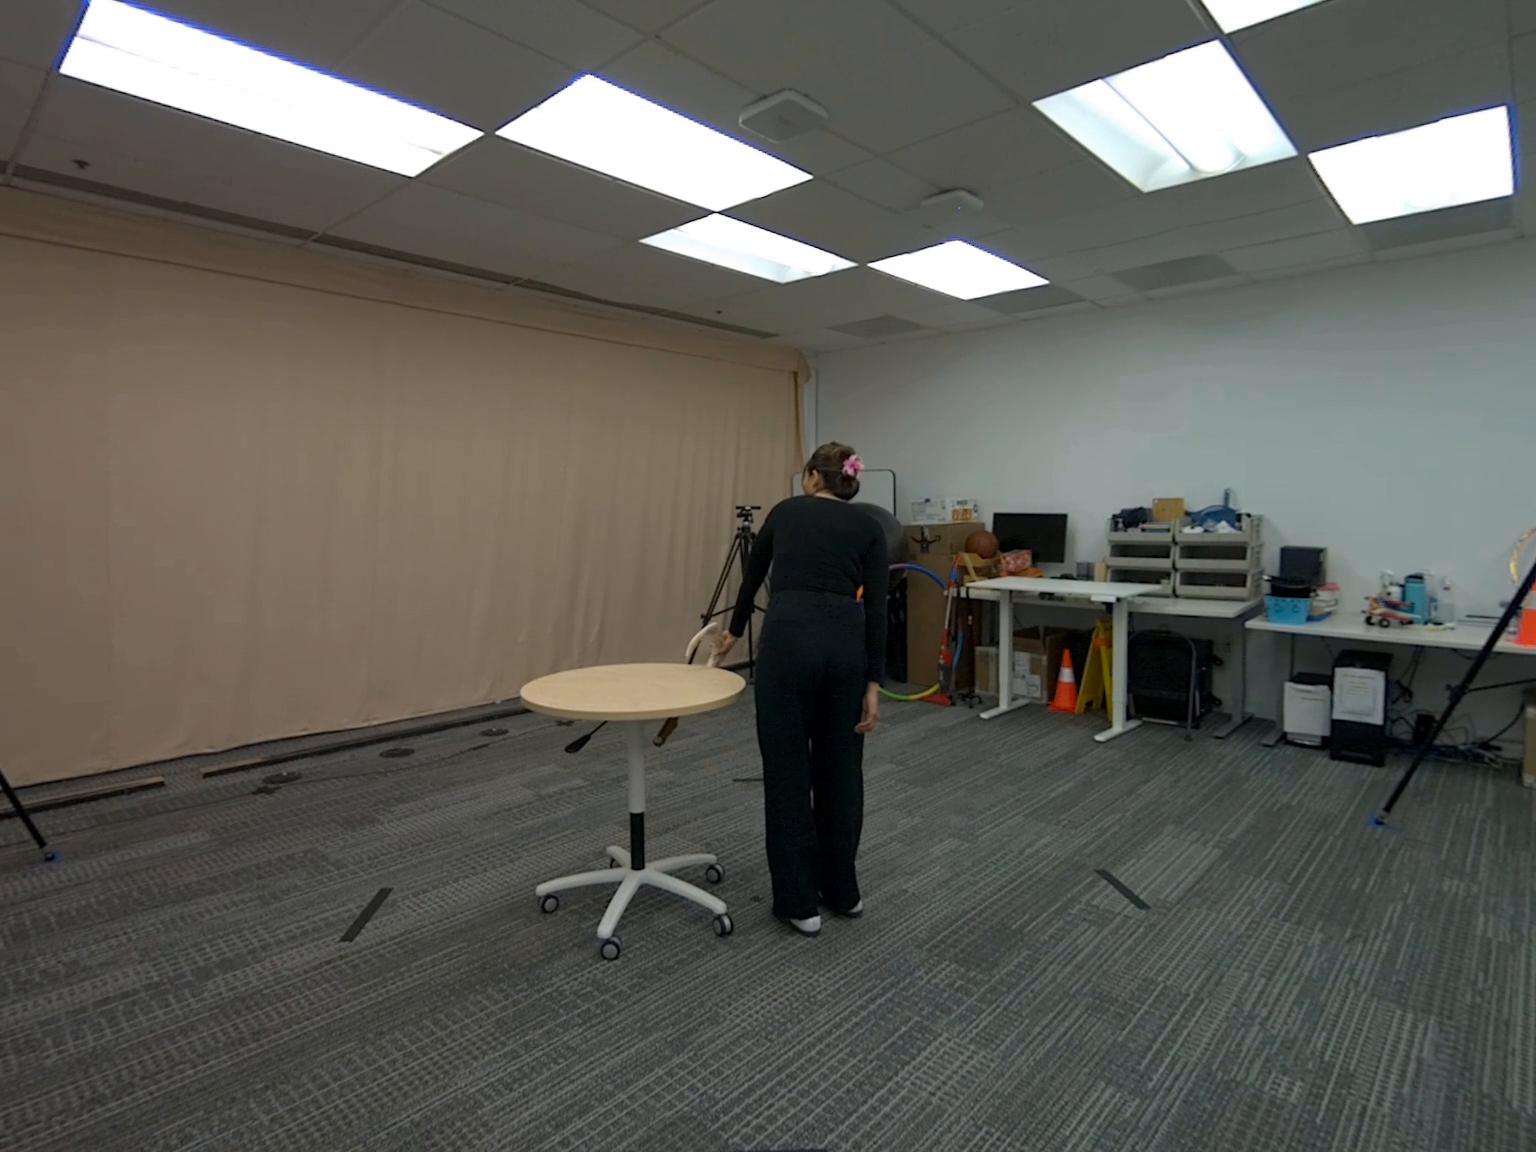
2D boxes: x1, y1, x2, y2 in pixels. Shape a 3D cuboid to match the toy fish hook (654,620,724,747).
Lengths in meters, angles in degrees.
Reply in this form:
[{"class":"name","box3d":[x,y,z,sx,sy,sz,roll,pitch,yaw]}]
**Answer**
[{"class":"toy fish hook","box3d":[-0.296,0.397,3.149,0.050,0.506,0.217,11,-34,32]}]
